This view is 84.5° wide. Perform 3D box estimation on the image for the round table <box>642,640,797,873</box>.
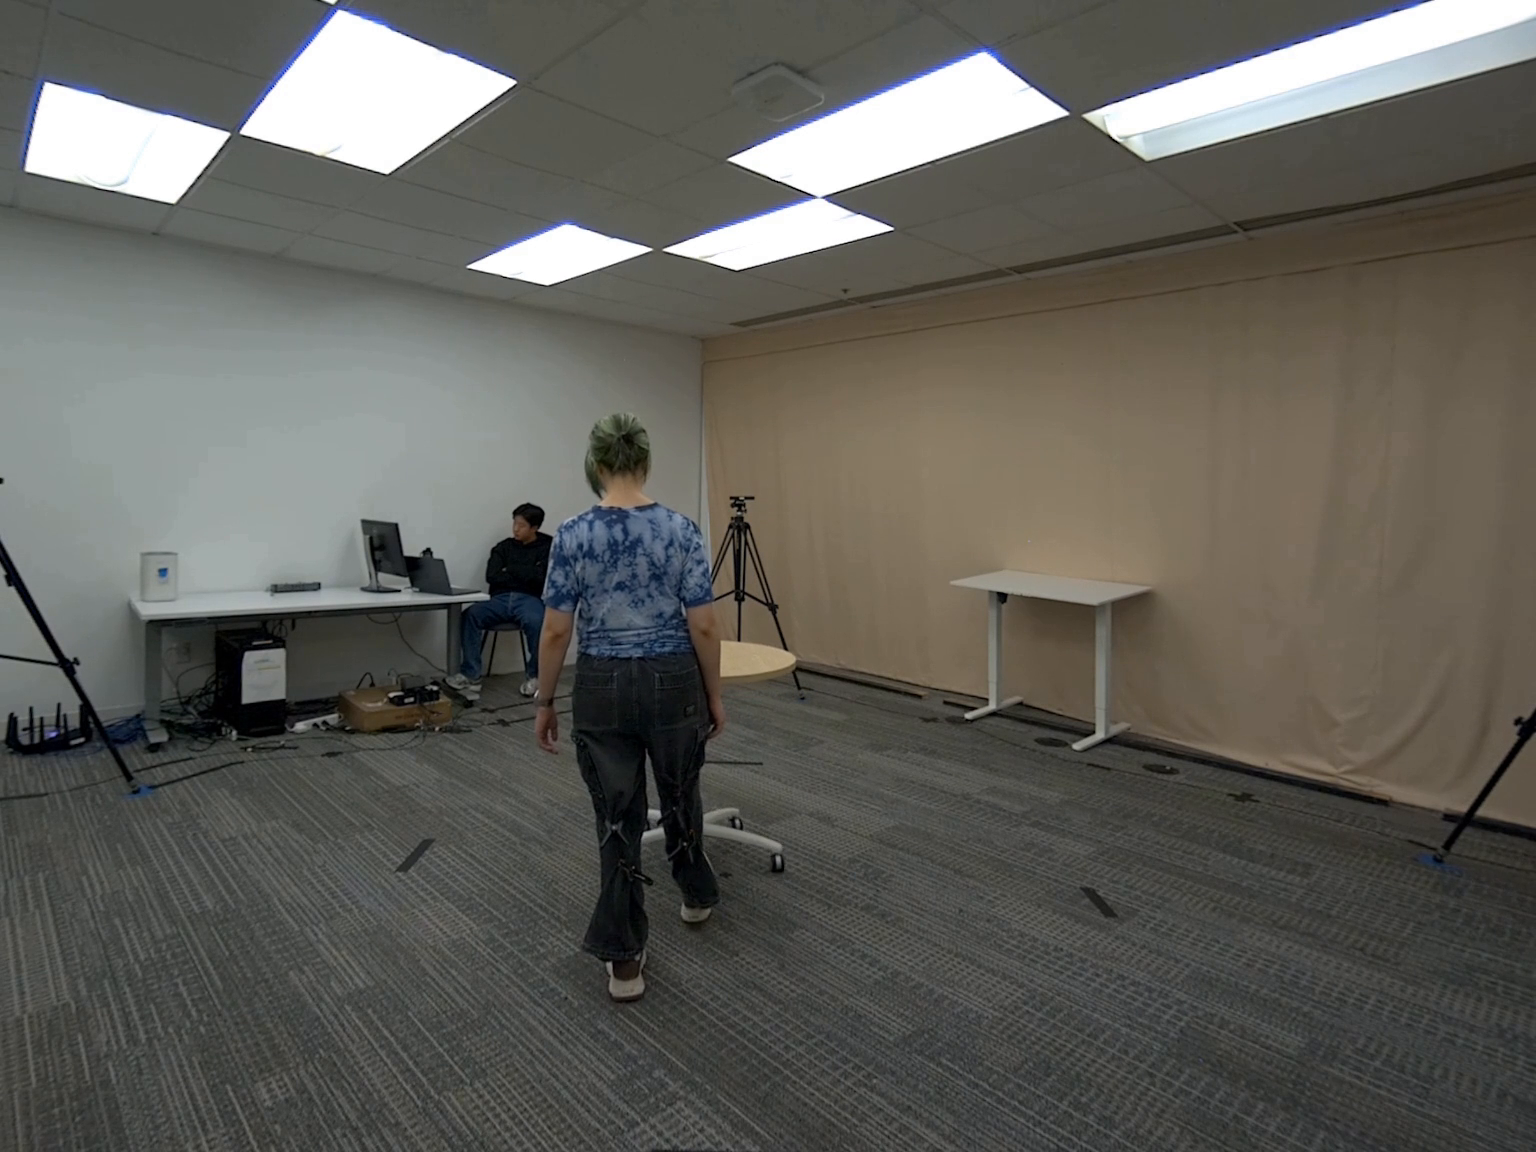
[{"bbox_3d":[-0.288,0.703,3.226,0.763,0.792,0.766,1,4,-1],"label":"round table"}]
